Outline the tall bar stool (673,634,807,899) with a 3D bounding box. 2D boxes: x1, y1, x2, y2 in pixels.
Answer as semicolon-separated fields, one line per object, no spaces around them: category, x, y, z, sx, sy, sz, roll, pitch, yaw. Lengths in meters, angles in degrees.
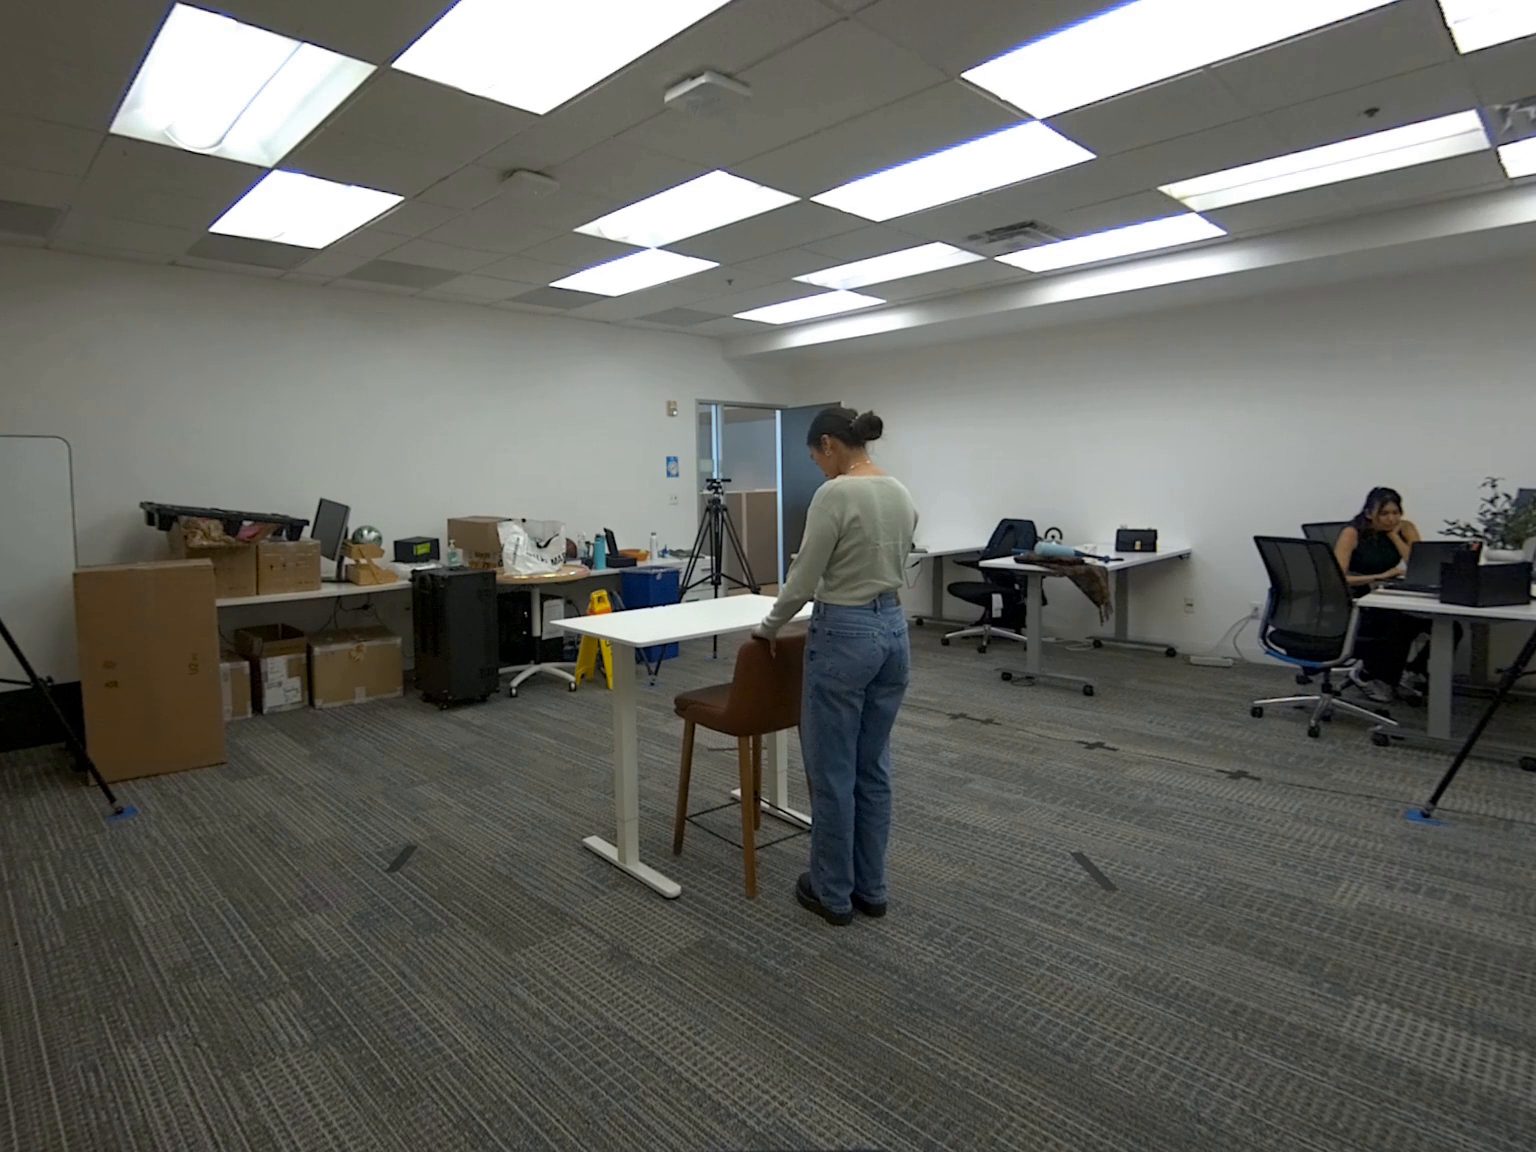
tall bar stool;-0.053;0.608;3.092;0.444;0.885;0.482;-3;7;-38
